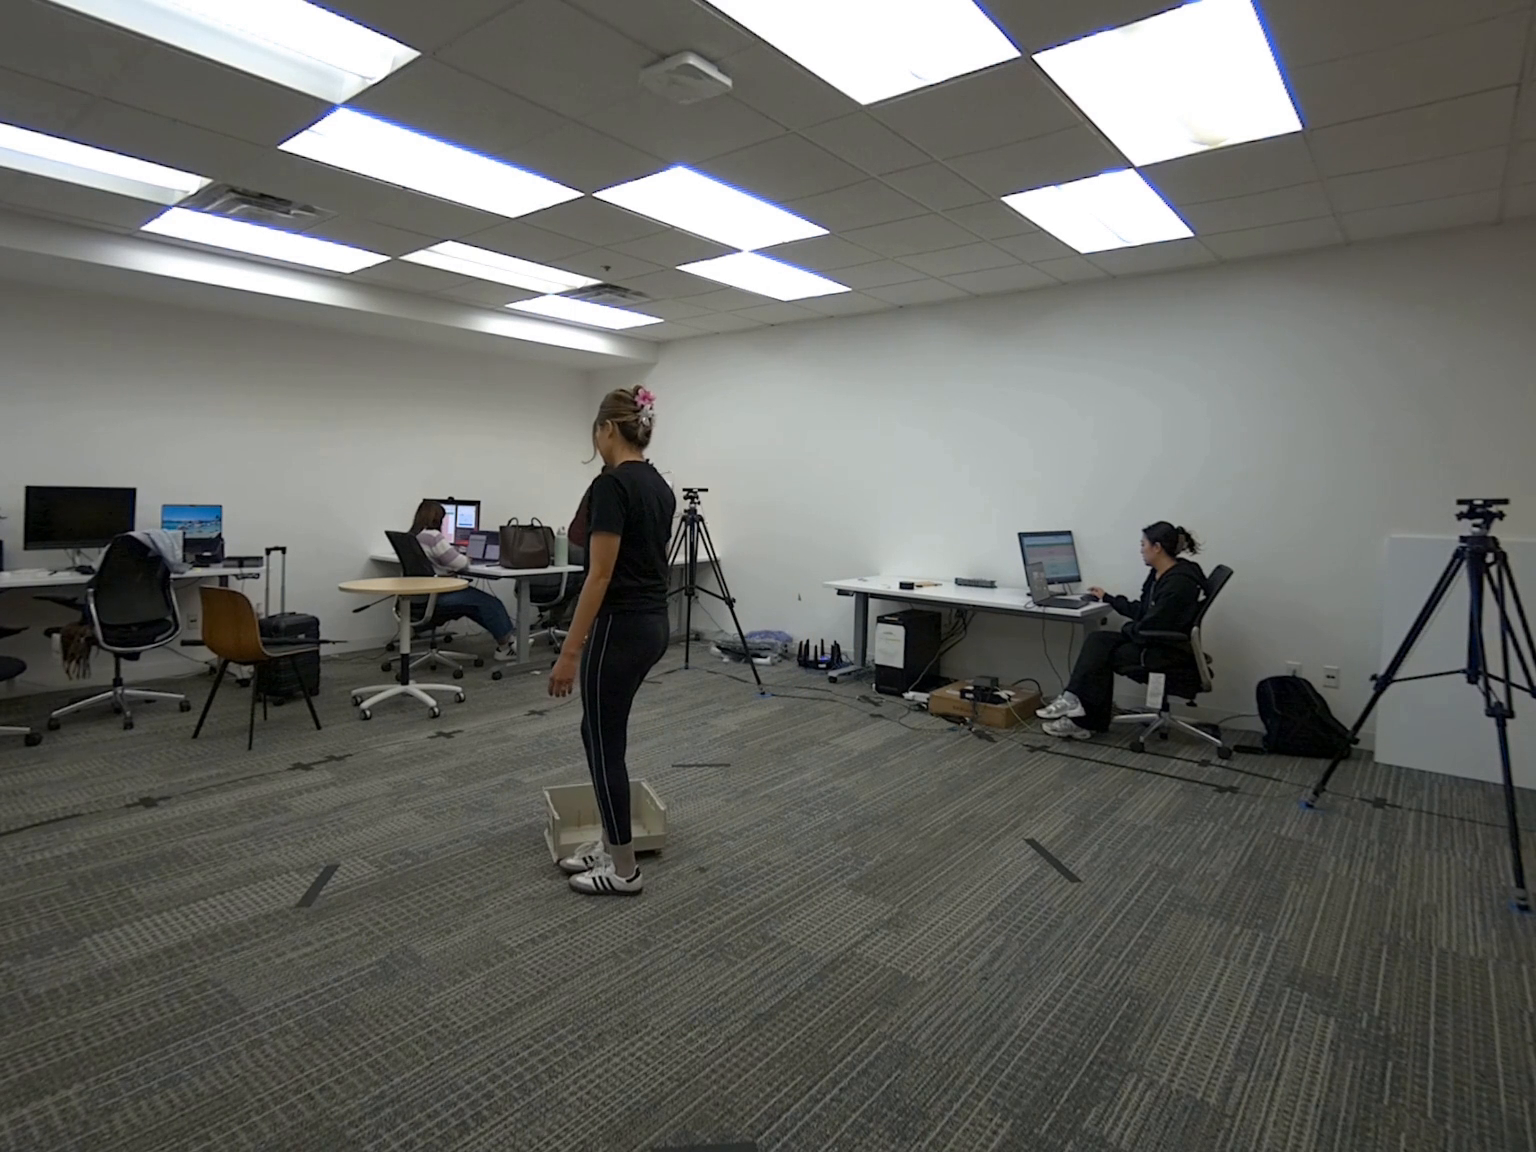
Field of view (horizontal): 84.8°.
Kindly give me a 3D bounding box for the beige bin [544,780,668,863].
[{"bbox_3d":[-0.657,0.950,3.311,0.414,0.188,0.386,-1,5,-21],"label":"beige bin"}]
